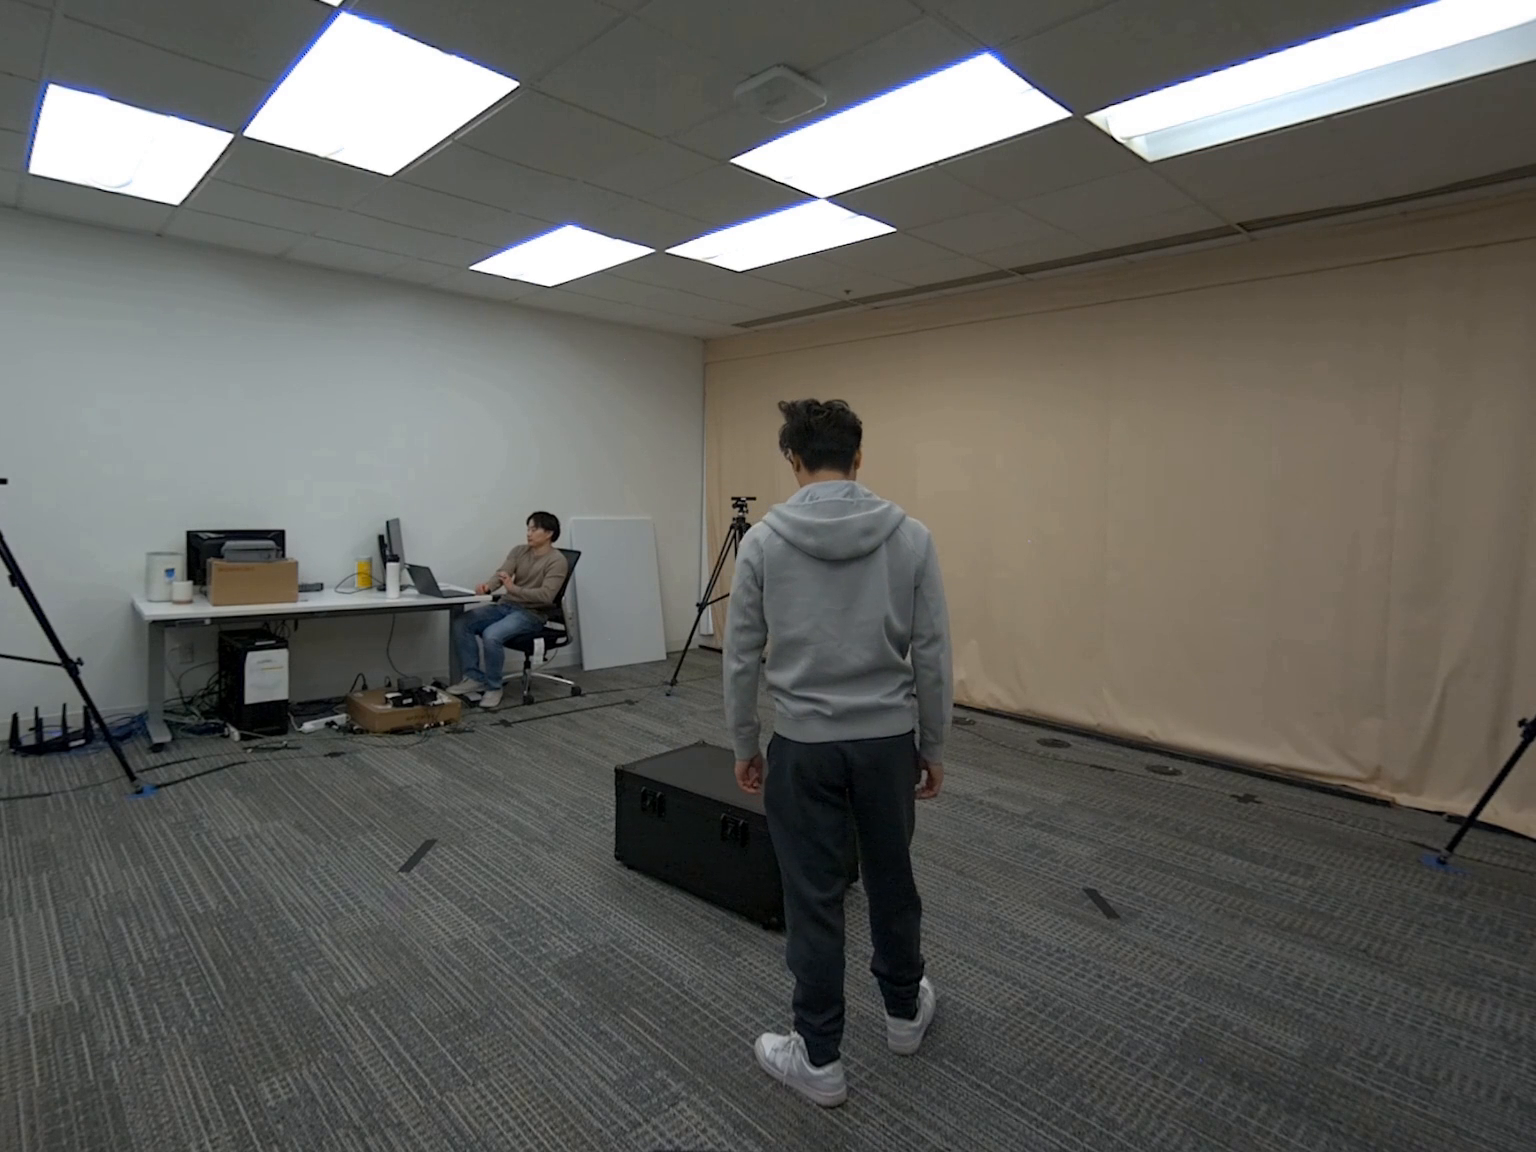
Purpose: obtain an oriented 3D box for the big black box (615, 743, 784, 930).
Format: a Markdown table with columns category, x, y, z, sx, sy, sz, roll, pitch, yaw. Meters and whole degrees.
| category | x | y | z | sx | sy | sz | roll | pitch | yaw |
| --- | --- | --- | --- | --- | --- | --- | --- | --- | --- |
| big black box | -0.150 | 0.915 | 3.117 | 0.883 | 0.395 | 0.510 | 6 | 6 | 38 |
